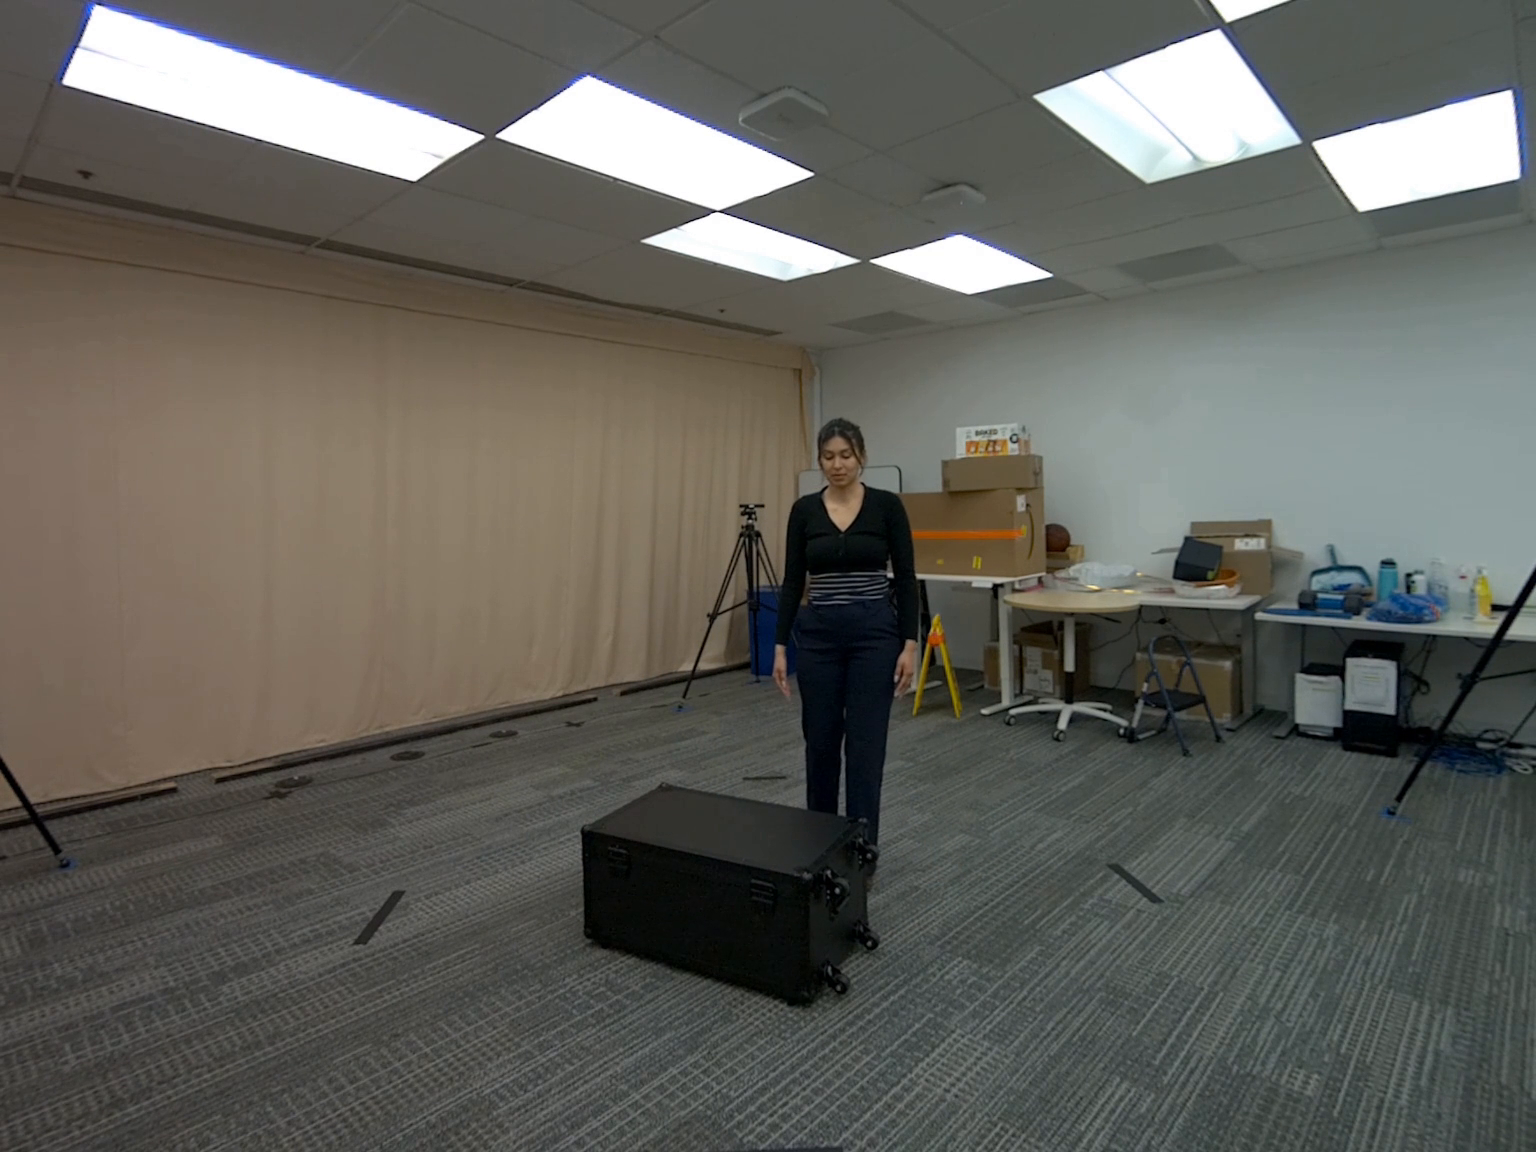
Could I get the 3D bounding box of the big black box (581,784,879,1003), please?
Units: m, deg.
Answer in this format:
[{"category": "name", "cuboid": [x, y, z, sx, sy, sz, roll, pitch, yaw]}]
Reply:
[{"category": "big black box", "cuboid": [-0.106, 0.978, 2.673, 0.885, 0.395, 0.508, 1, 4, 28]}]
